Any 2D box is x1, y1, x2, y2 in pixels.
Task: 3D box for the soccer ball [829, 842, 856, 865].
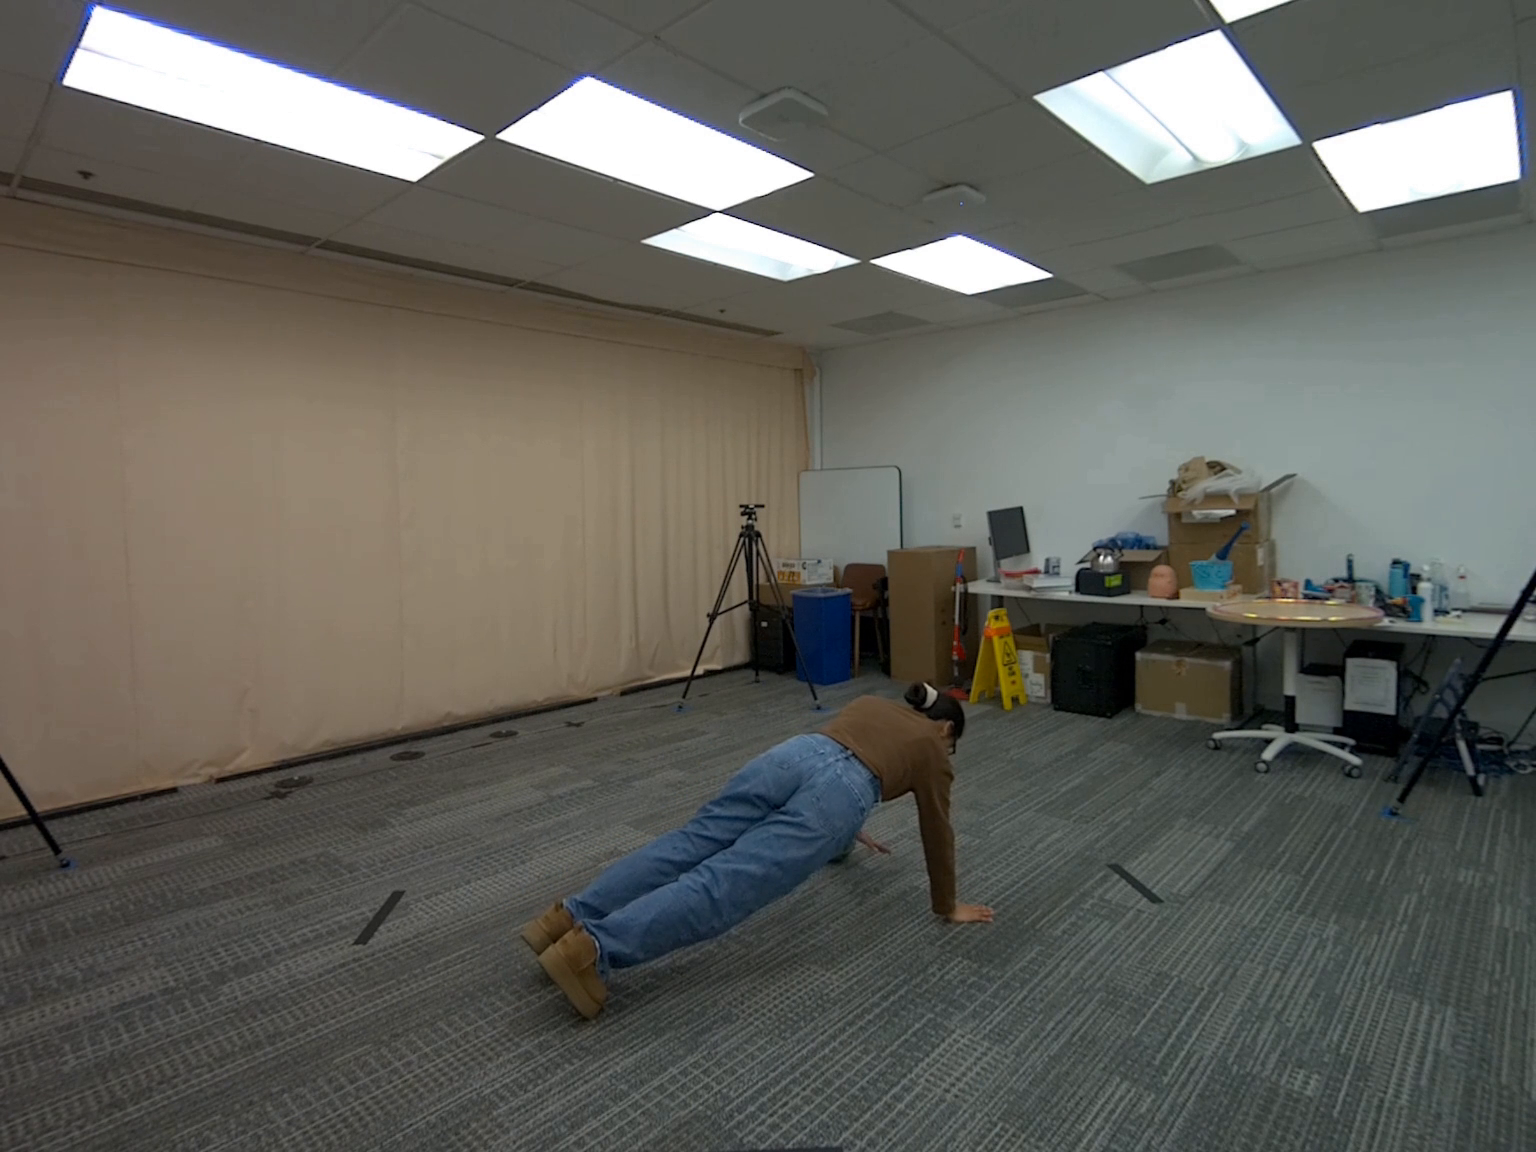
[{"bbox_3d":[0.261,1.012,3.283,0.187,0.187,0.188,-1,4,-2],"label":"soccer ball"}]
